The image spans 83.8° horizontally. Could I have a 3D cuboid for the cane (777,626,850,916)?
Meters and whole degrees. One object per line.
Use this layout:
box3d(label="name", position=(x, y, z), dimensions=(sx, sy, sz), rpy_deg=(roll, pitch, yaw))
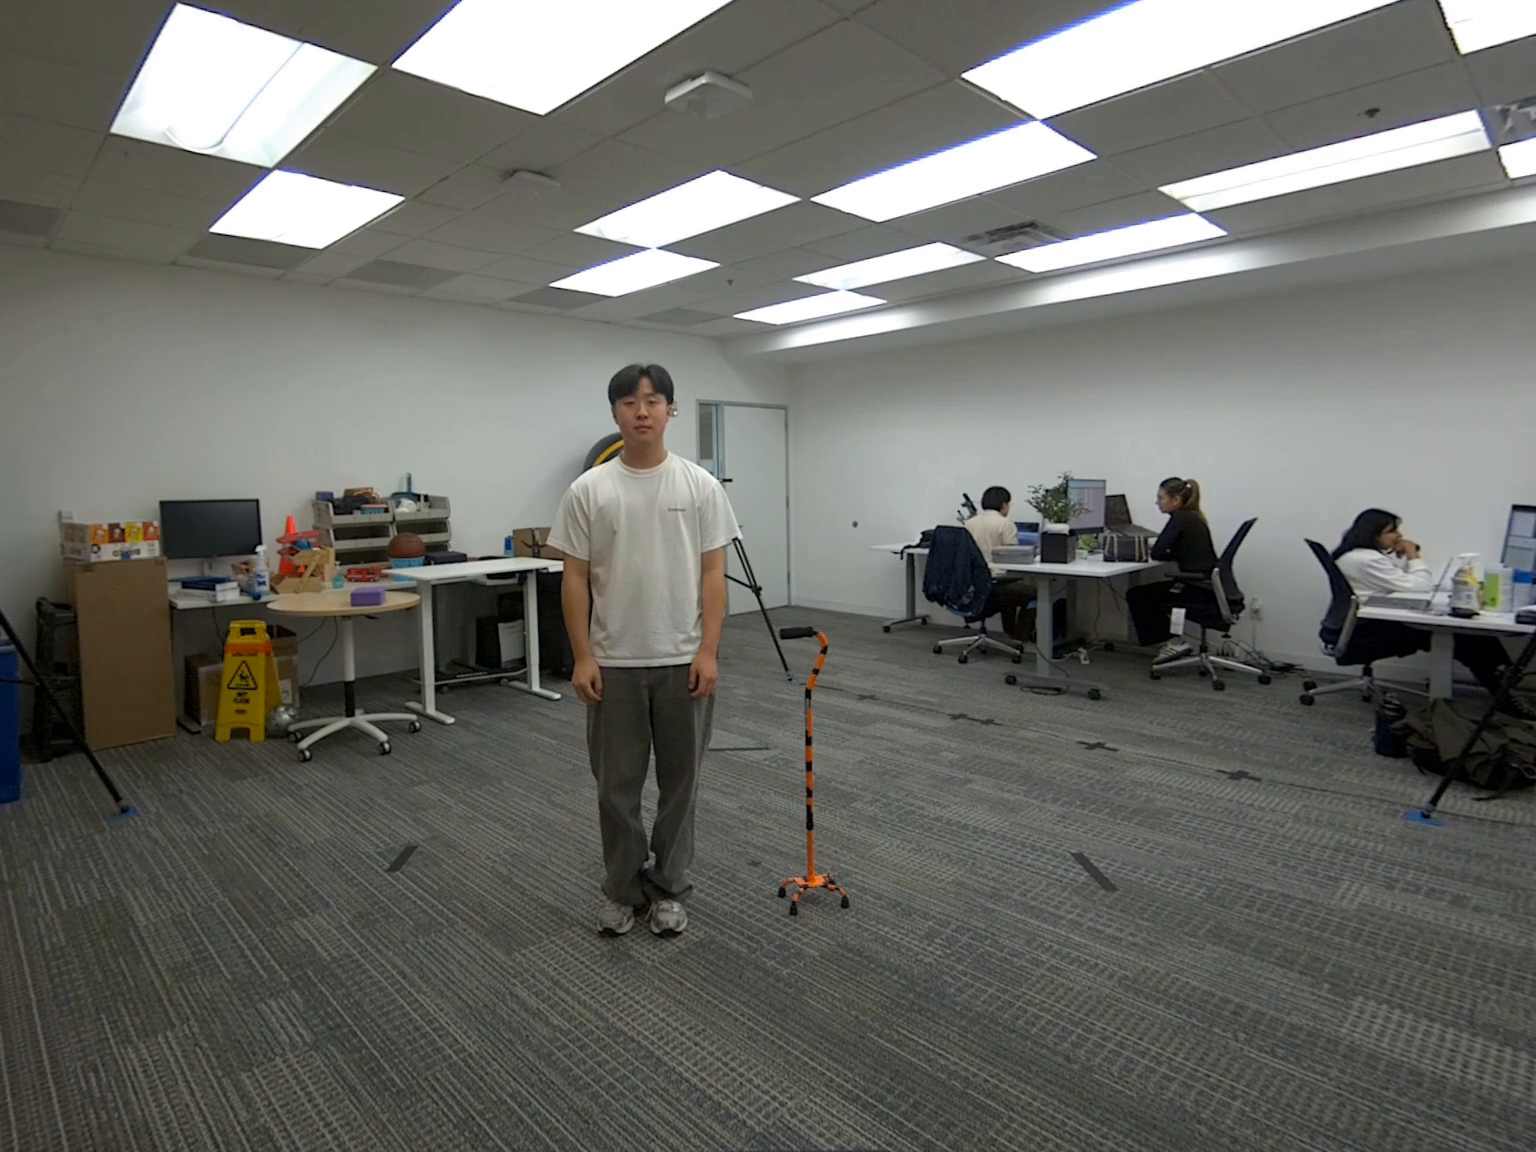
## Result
box3d(label="cane", position=(0.144, 0.625, 2.805), dimensions=(0.203, 0.905, 0.154), rpy_deg=(-1, 3, -16))
